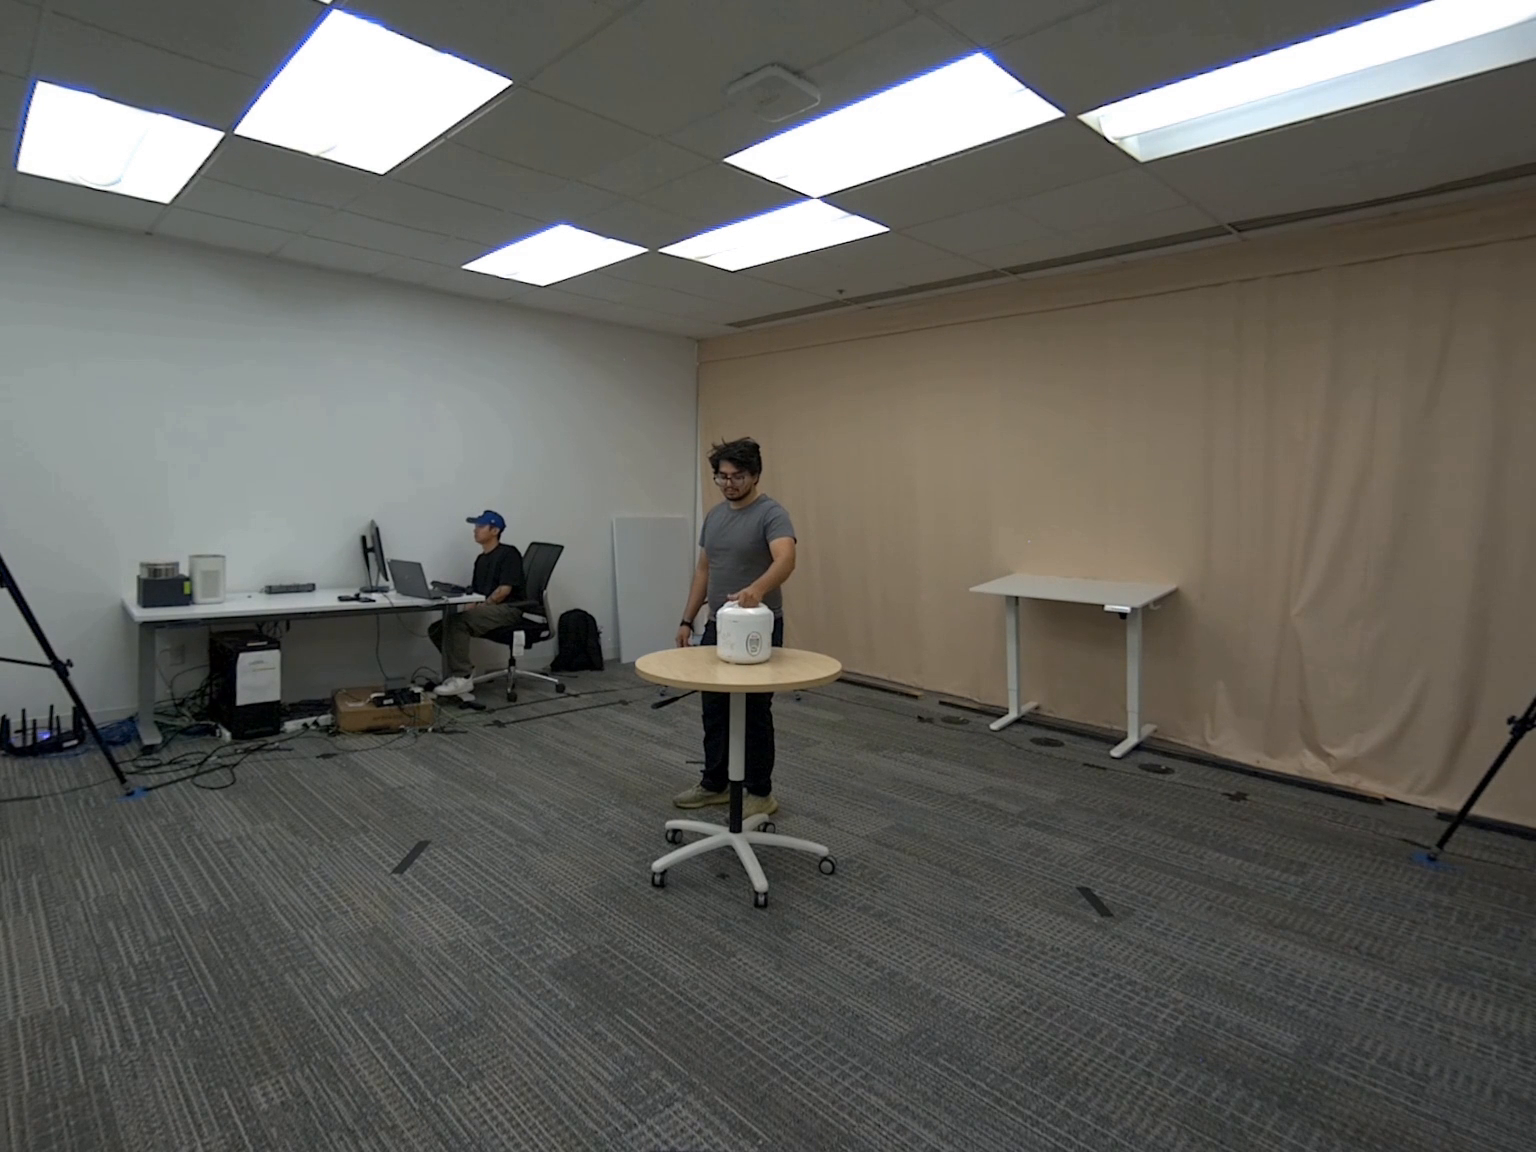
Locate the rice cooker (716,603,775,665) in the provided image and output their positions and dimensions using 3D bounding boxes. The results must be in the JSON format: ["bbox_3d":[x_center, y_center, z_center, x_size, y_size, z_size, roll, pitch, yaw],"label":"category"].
[{"bbox_3d":[-0.098,0.204,3.175,0.217,0.232,0.221,-1,4,-20],"label":"rice cooker"}]
